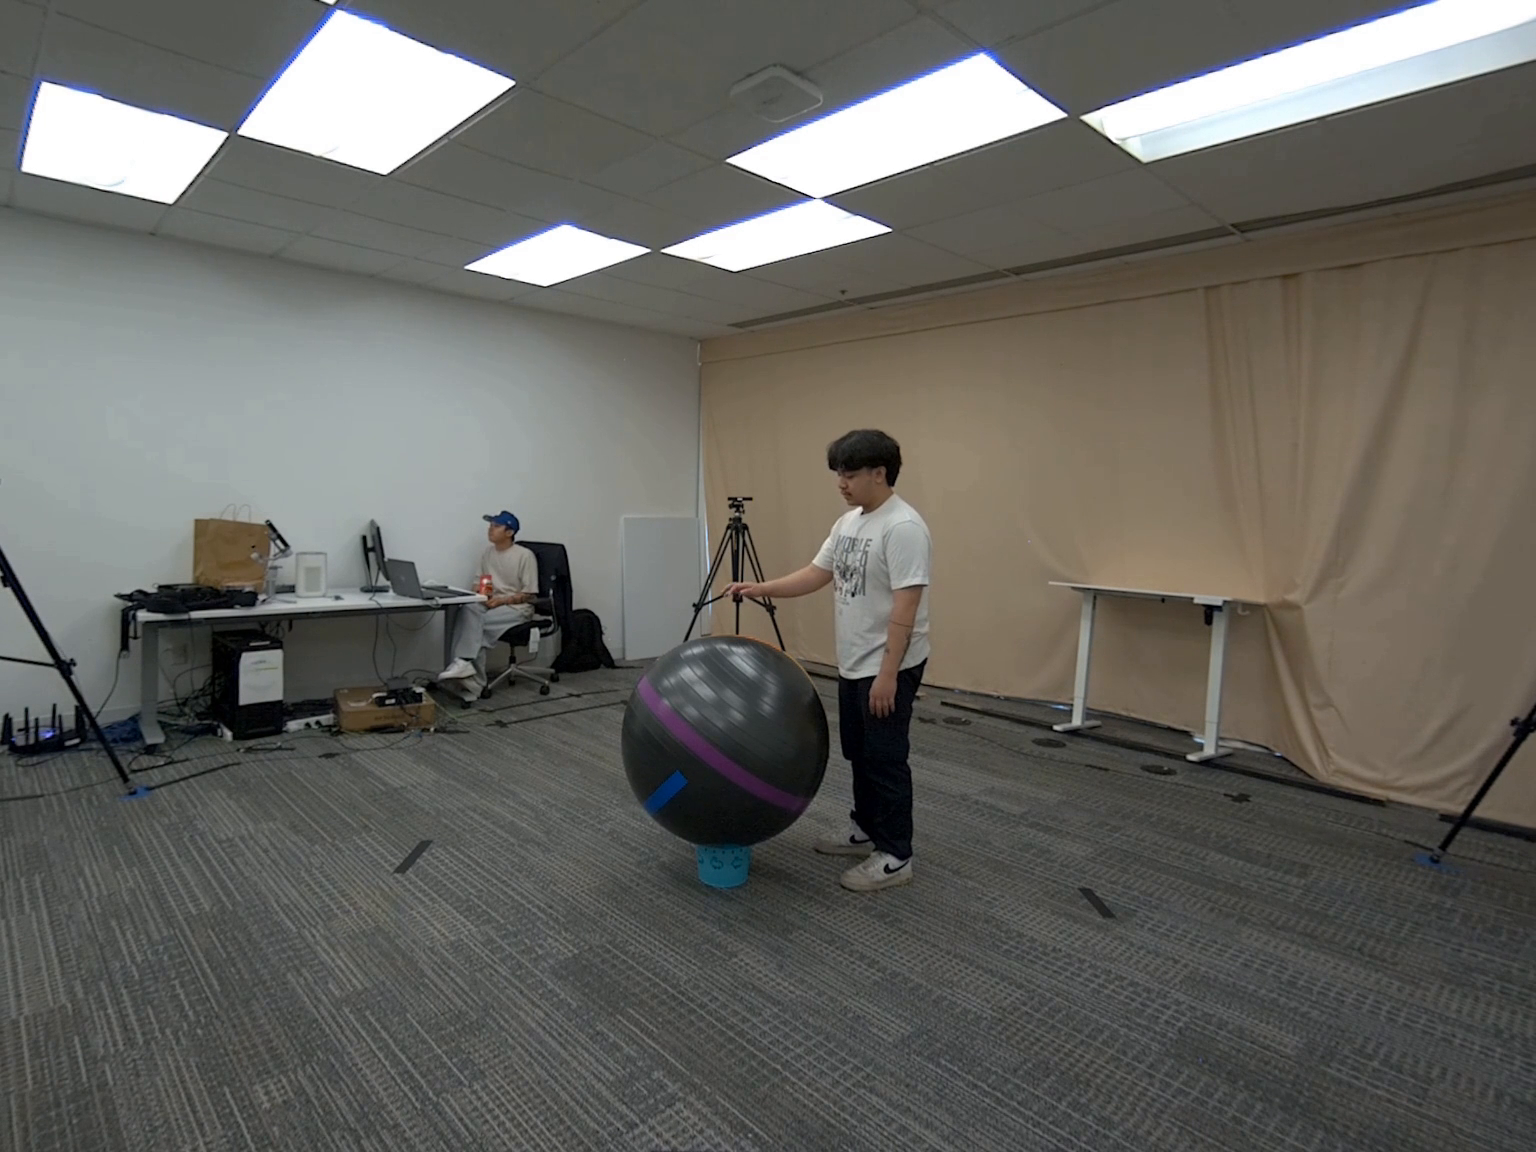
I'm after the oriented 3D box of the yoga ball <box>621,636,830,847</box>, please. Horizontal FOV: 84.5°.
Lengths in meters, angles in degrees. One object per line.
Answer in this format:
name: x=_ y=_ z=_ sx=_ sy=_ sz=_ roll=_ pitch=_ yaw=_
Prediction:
yoga ball: x=-0.164 y=0.600 z=3.087 sx=0.757 sy=0.756 sz=0.761 roll=1 pitch=4 yaw=-1
